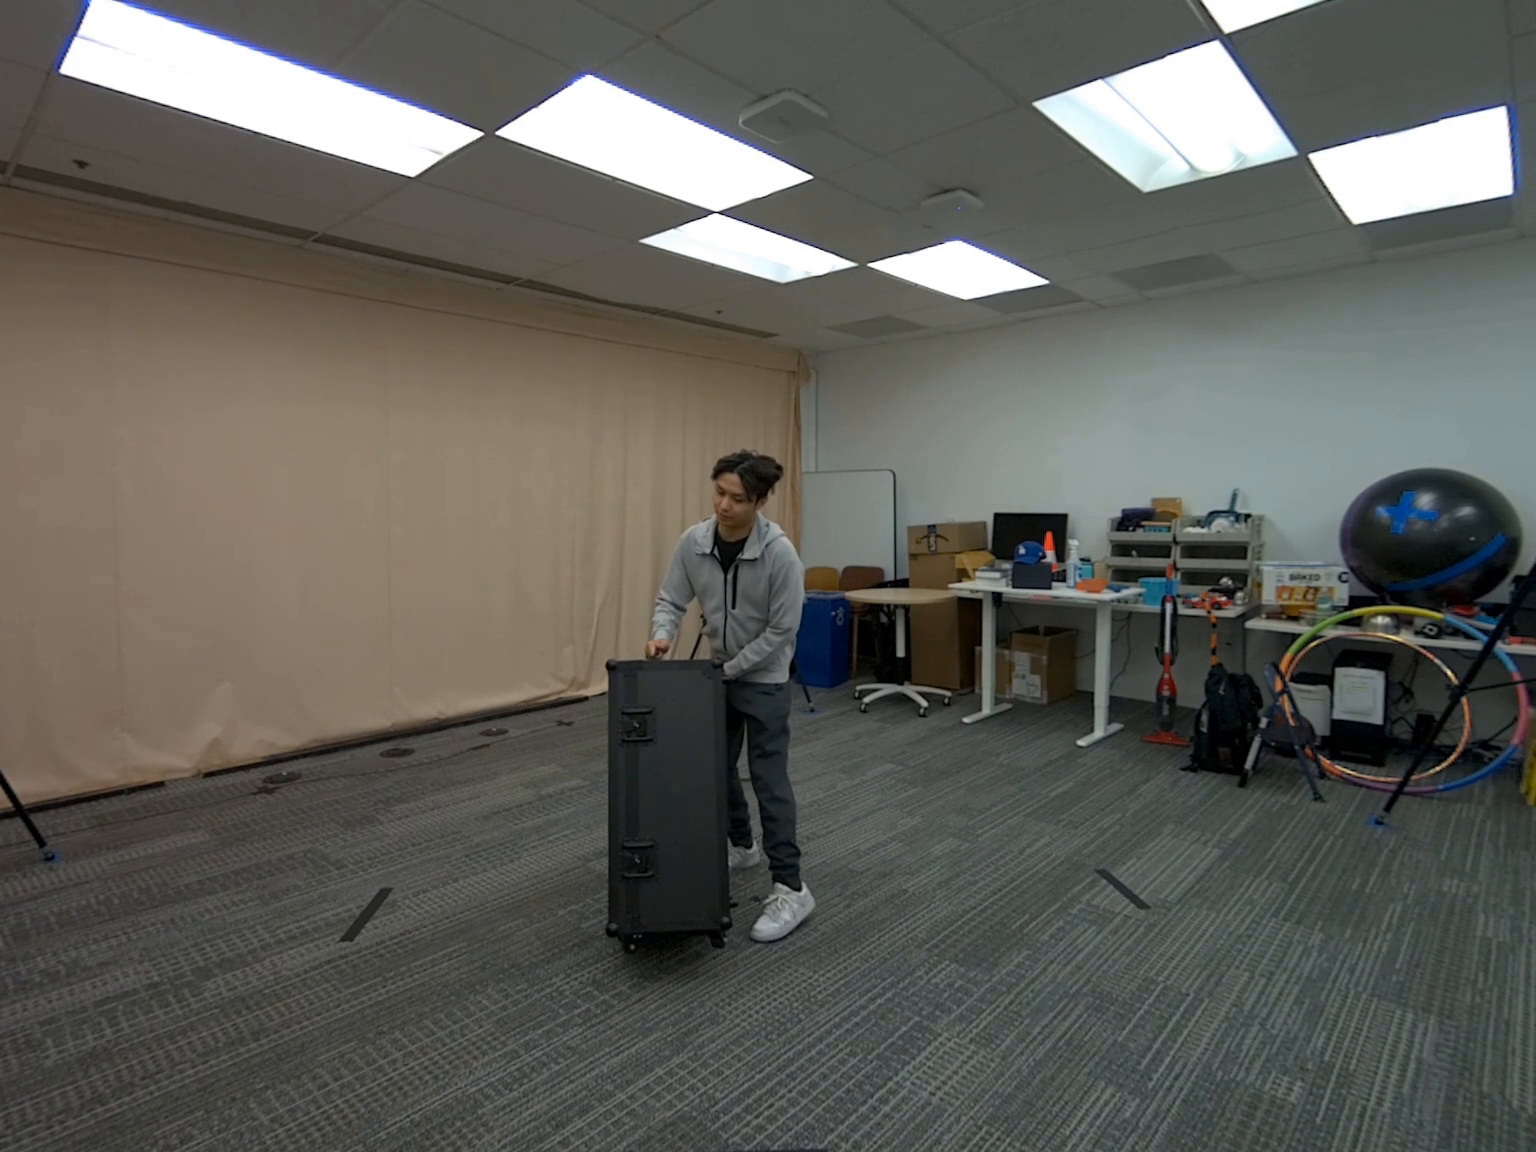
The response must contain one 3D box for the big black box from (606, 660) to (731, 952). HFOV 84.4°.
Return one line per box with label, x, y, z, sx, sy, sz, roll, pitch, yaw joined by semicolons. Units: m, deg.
big black box;-0.321;0.730;2.731;0.395;0.870;0.518;-1;-14;-5
